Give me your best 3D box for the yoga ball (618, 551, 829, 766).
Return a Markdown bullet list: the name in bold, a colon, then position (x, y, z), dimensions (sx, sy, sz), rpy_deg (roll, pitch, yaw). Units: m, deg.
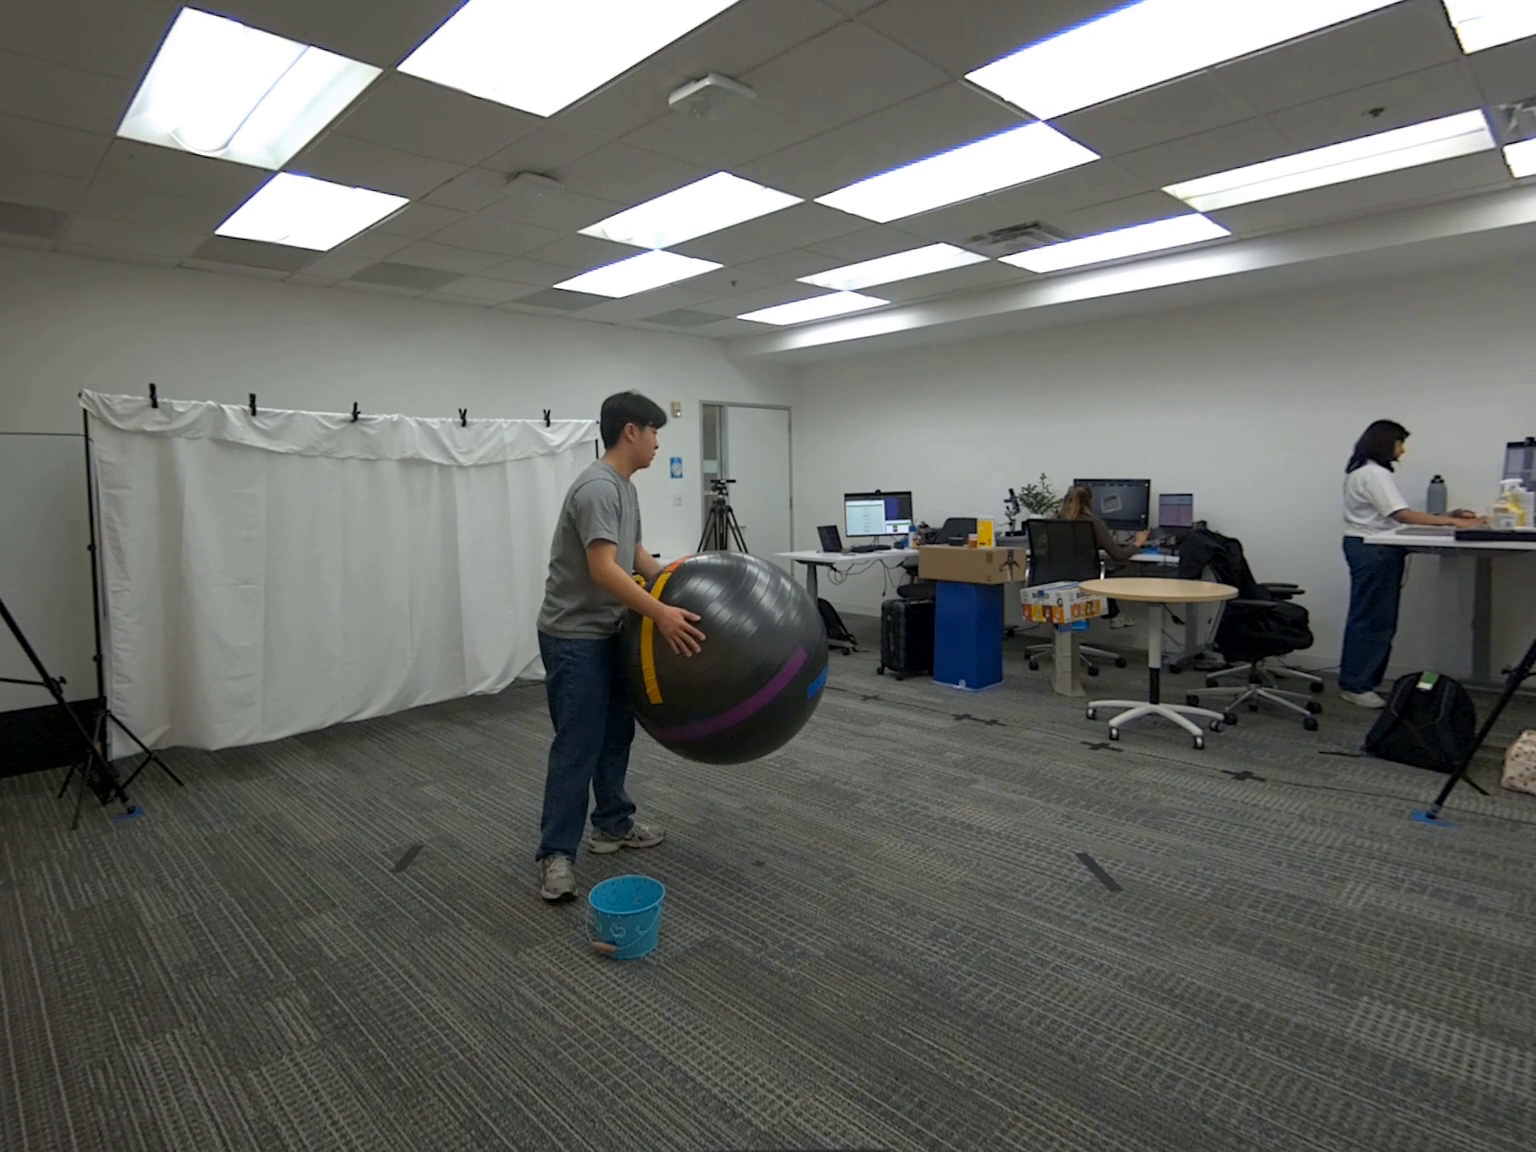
- **yoga ball**: position (-0.158, 0.289, 3.067), dimensions (0.757, 0.755, 0.762), rpy_deg (-1, 5, -2)
